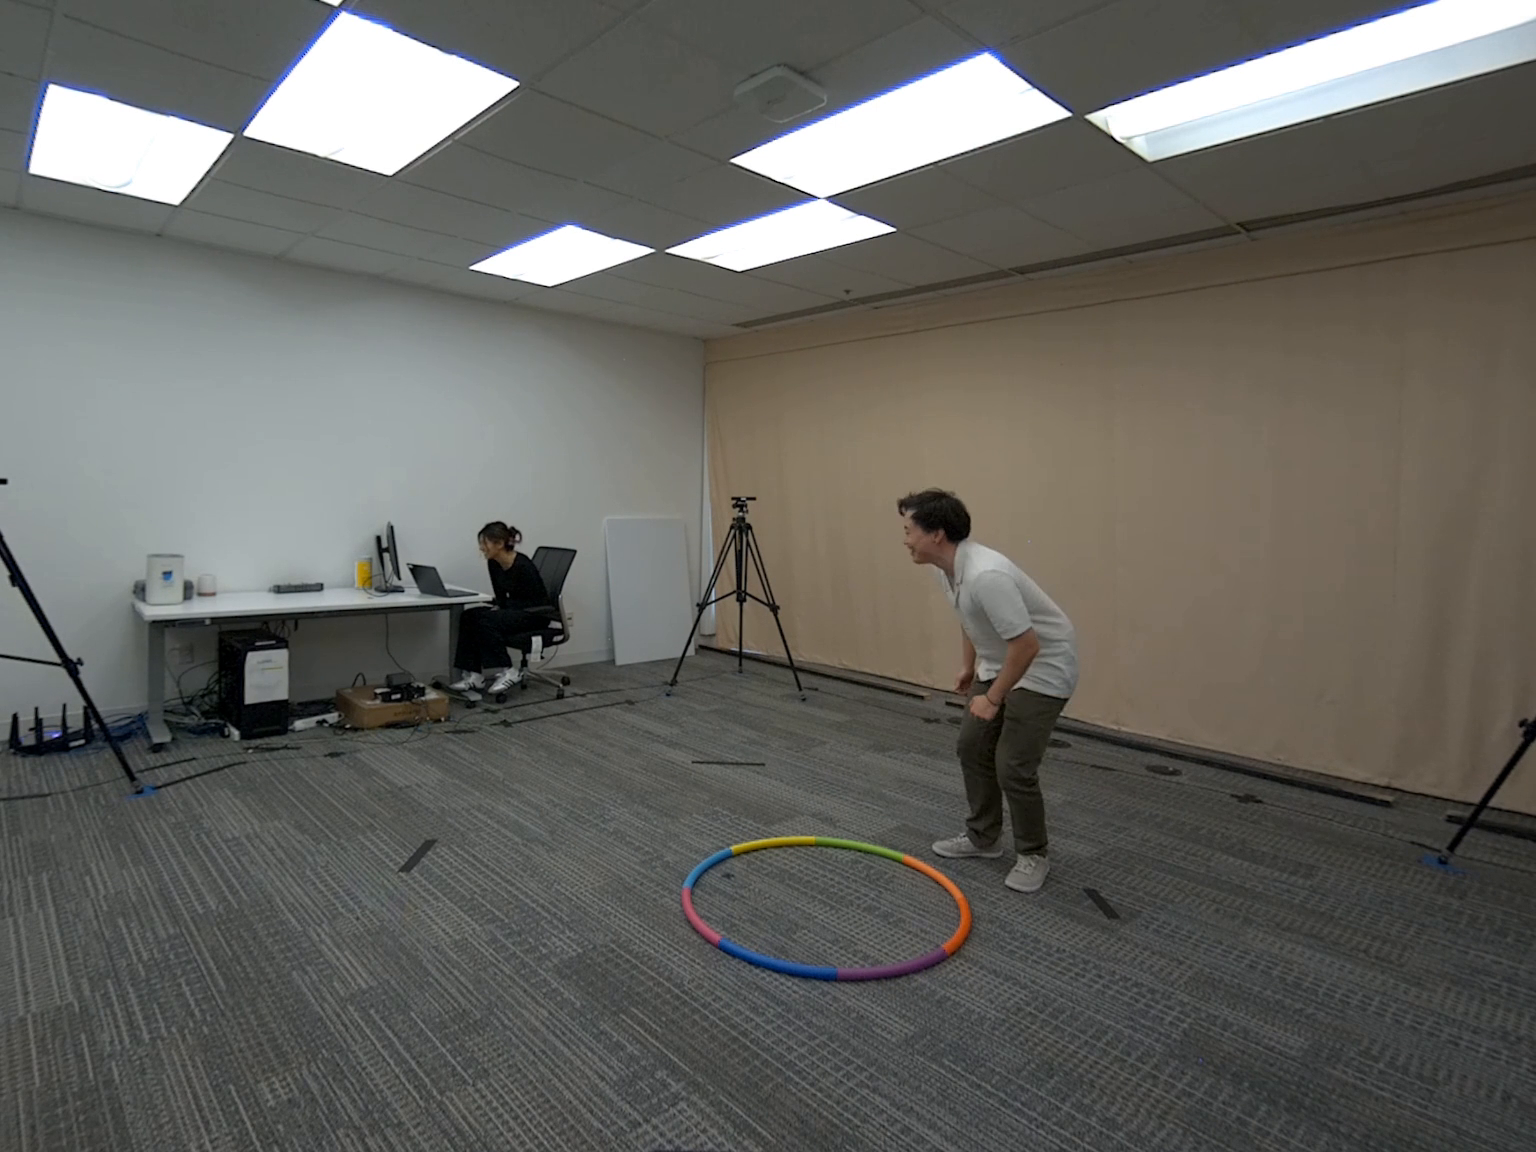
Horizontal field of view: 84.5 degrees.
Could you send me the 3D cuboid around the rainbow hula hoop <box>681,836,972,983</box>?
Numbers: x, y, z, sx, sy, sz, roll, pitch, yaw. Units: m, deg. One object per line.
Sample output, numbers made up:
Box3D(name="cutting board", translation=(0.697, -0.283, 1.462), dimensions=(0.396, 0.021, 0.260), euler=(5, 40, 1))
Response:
Box3D(name="rainbow hula hoop", translation=(0.182, 1.101, 2.926), dimensions=(0.978, 0.035, 0.982), euler=(1, 5, -1))
